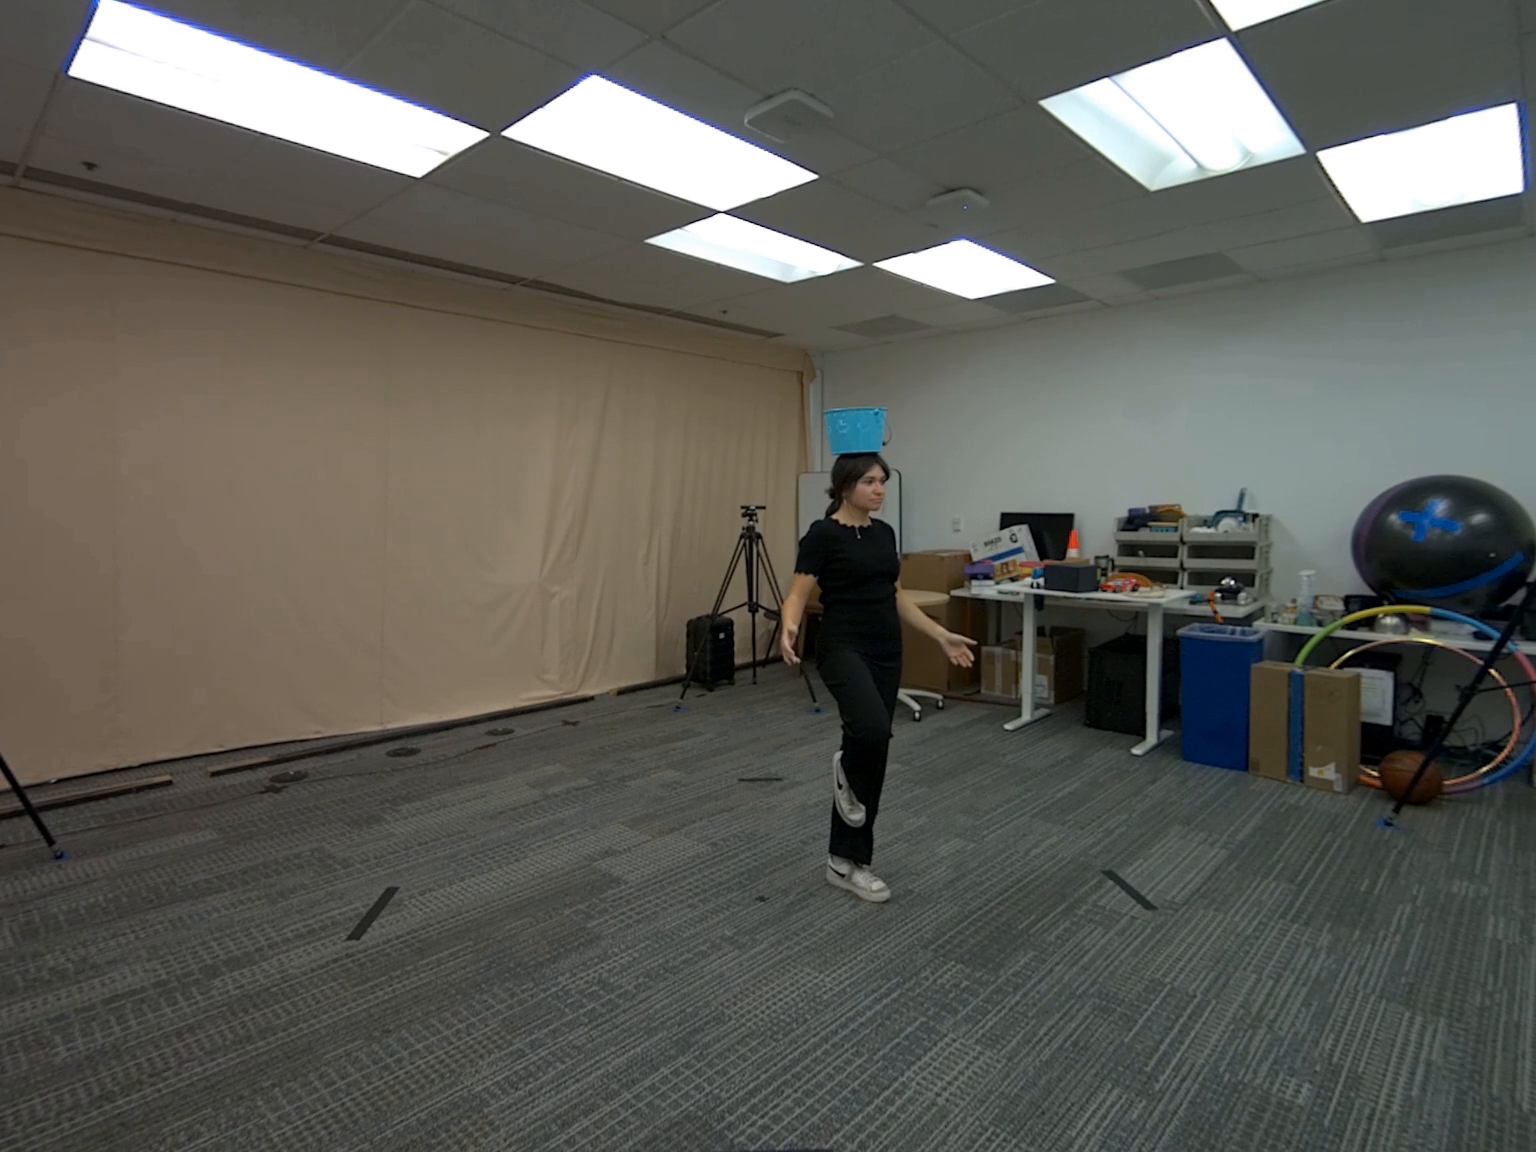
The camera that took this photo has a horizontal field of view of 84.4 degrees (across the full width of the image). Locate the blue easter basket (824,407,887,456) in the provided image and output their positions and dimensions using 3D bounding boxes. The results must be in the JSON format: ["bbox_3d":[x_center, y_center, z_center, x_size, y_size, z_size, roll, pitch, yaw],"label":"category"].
[{"bbox_3d":[0.326,-0.520,3.029,0.243,0.155,0.245,-2,6,-2],"label":"blue easter basket"}]
